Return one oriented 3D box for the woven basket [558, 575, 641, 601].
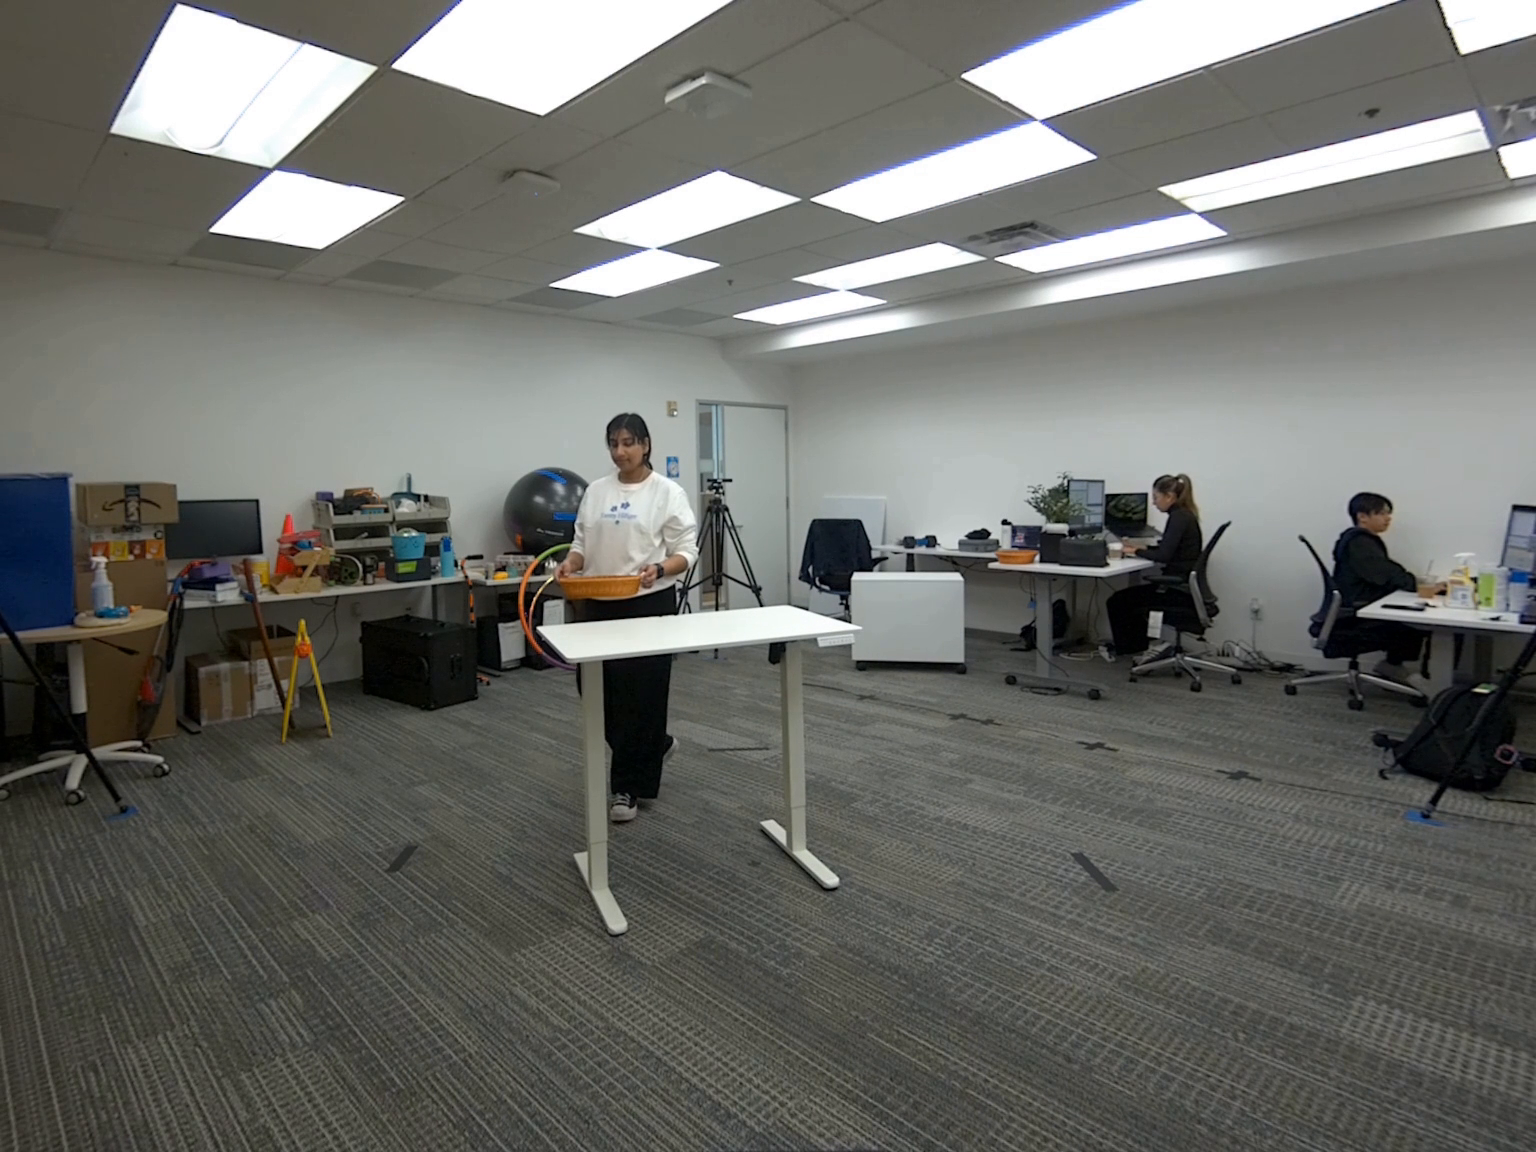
[{"bbox_3d":[-0.669,0.044,3.395,0.358,0.073,0.247,-2,4,27],"label":"woven basket"}]
